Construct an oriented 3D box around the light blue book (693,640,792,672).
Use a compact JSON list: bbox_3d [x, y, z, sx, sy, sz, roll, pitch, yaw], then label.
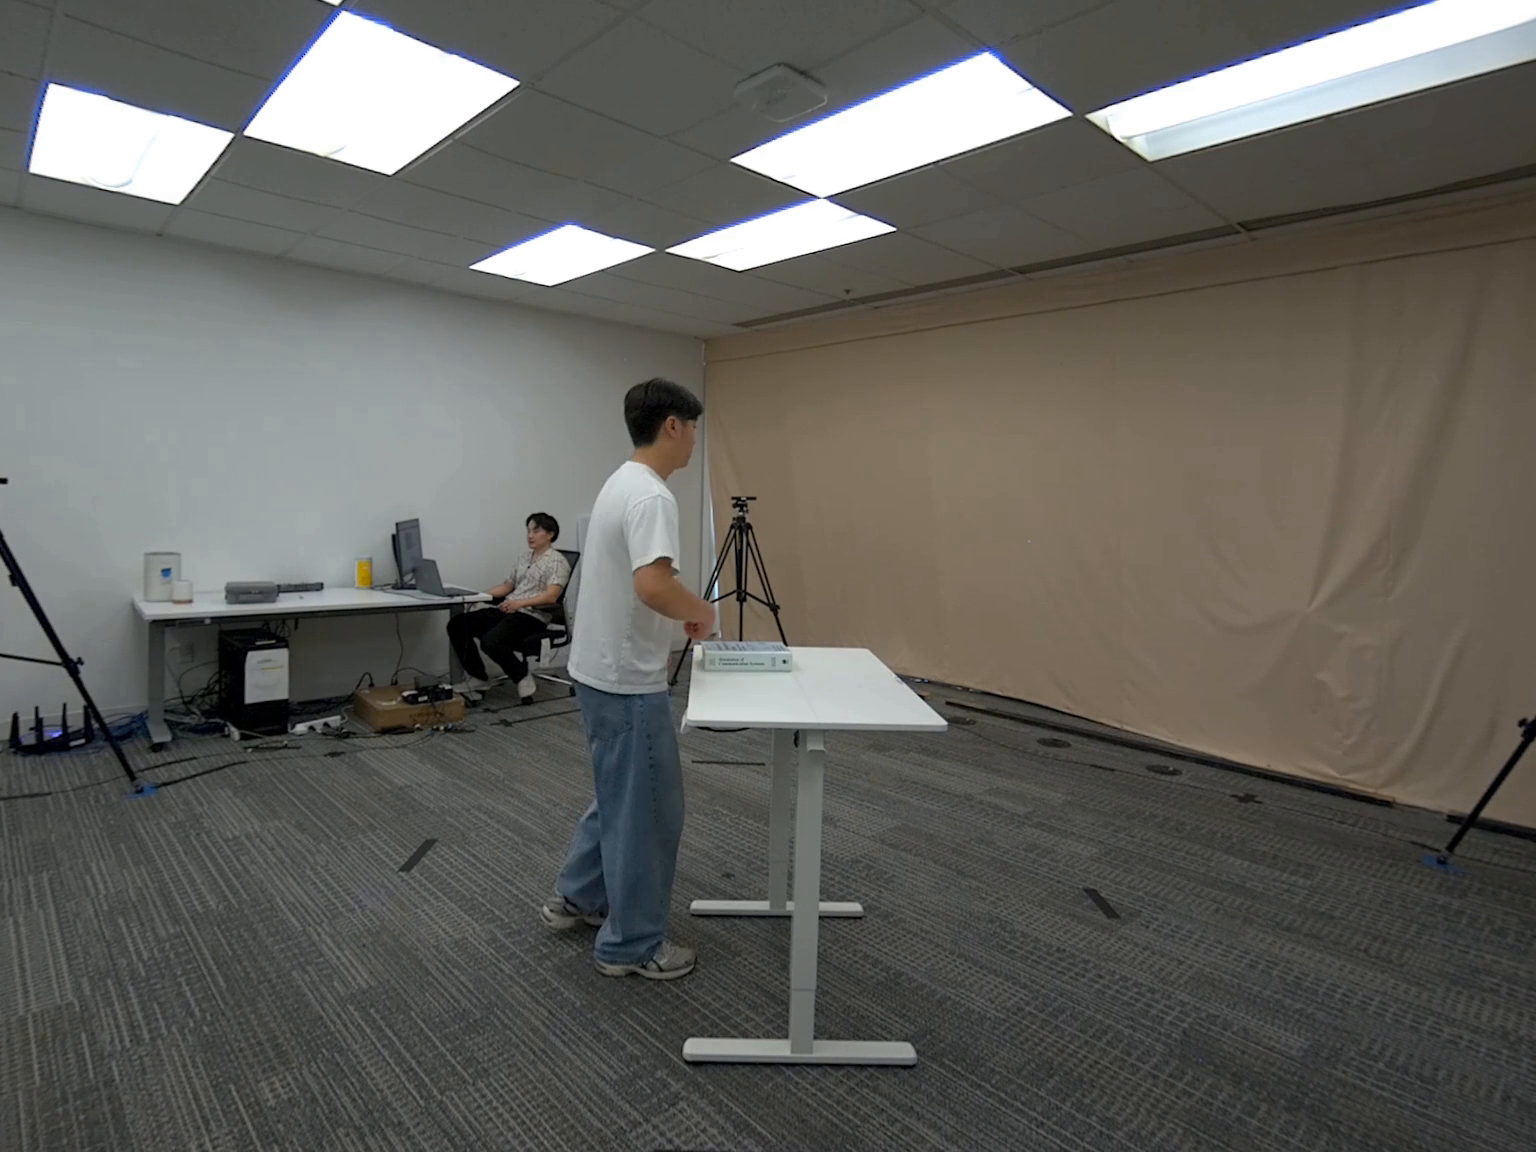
[{"bbox_3d":[-0.079,0.251,2.561,0.259,0.059,0.193,2,2,-8],"label":"light blue book"}]
